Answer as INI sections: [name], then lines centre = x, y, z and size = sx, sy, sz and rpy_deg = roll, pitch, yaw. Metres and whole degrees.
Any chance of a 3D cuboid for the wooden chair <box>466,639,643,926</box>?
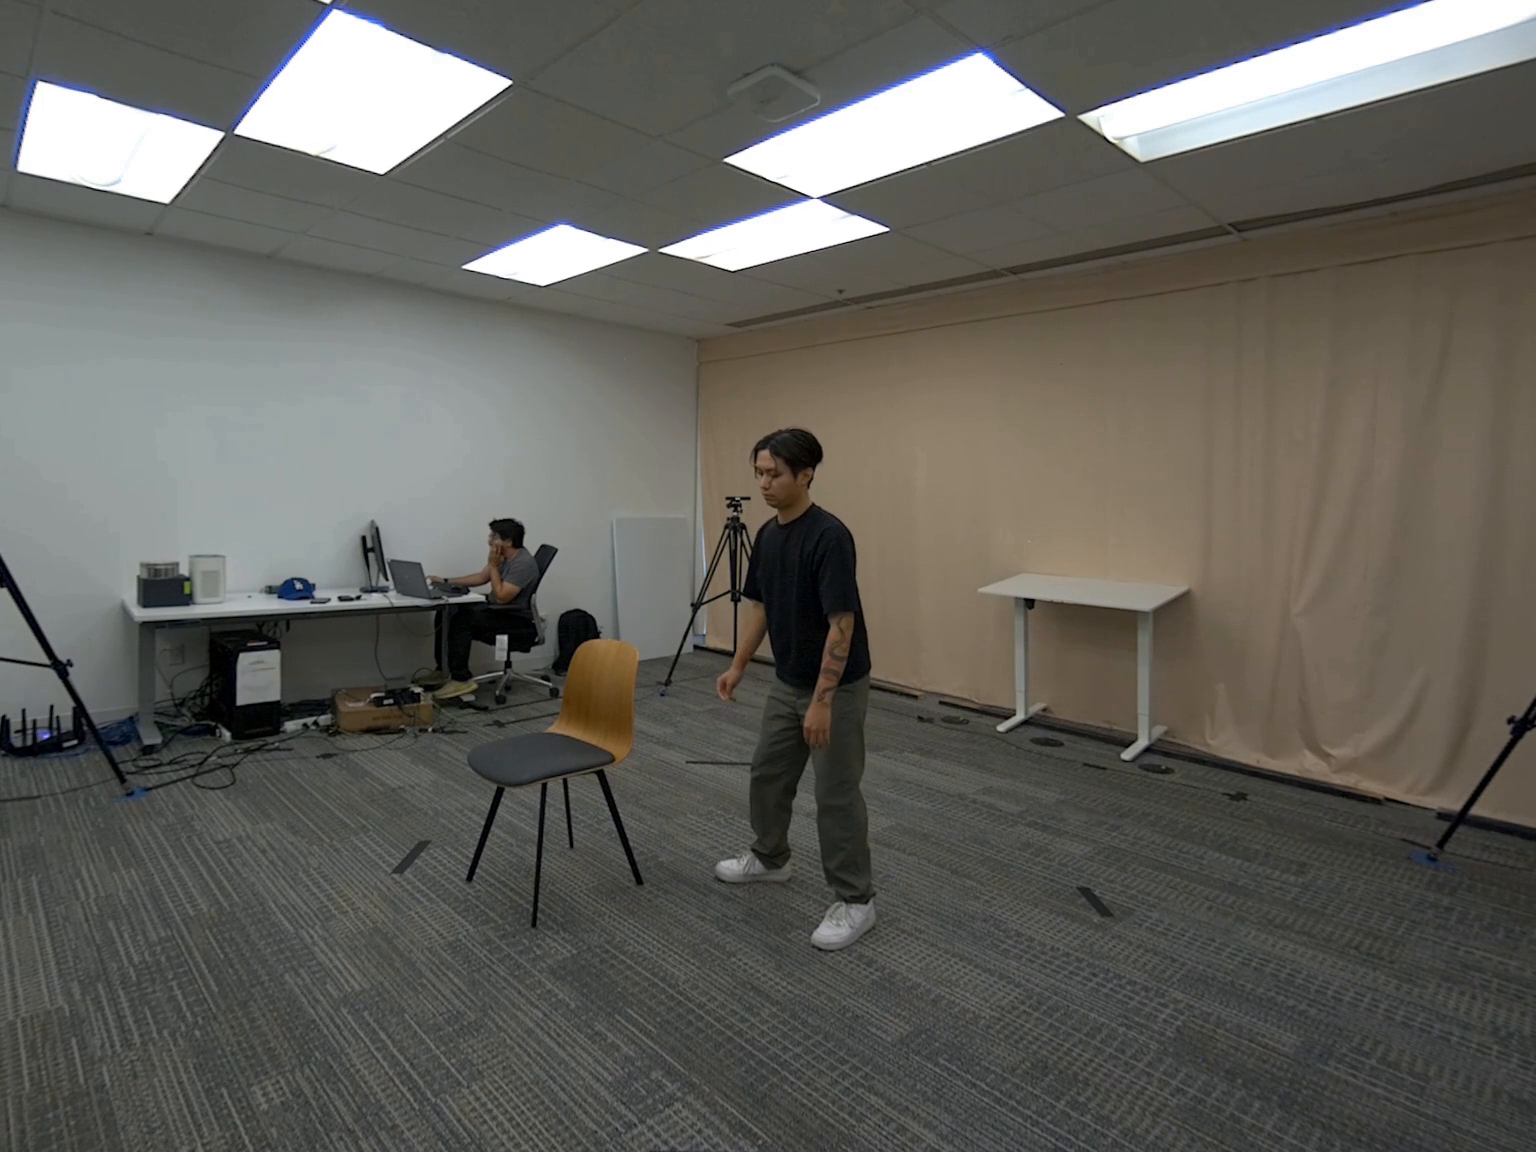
[wooden chair]
centre = -0.761, 0.677, 2.980
size = 0.490, 0.877, 0.510
rpy_deg = 4, 1, 43
